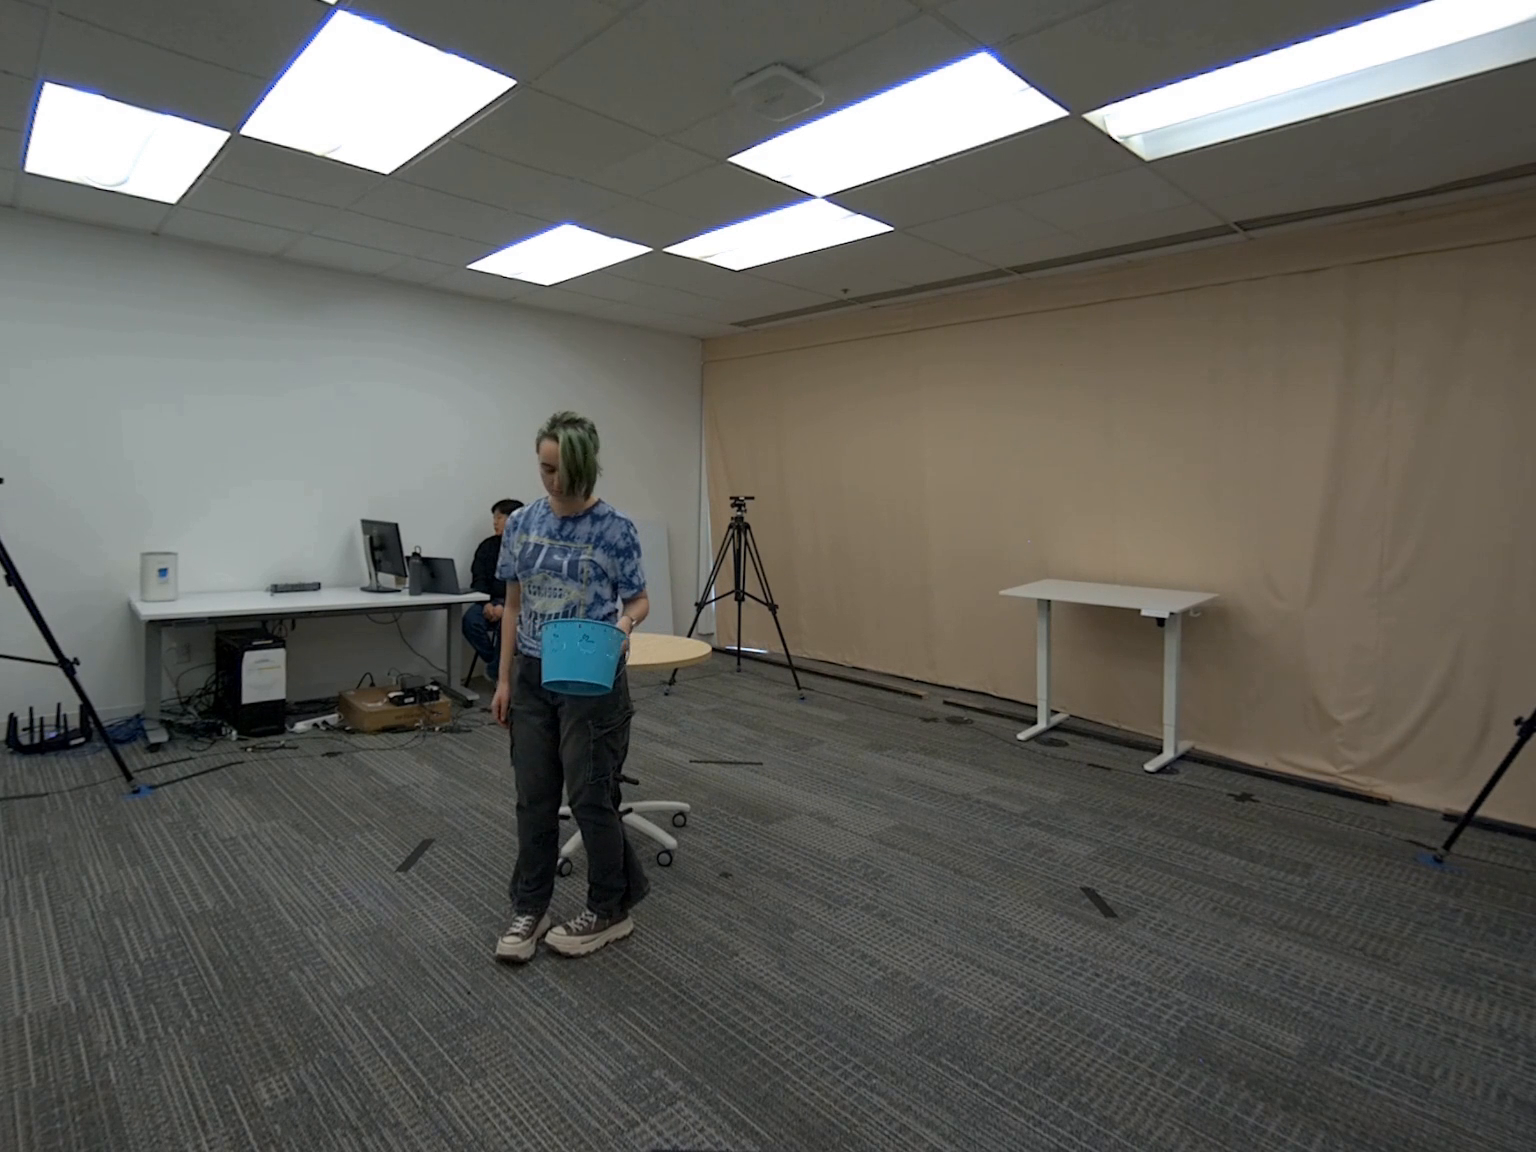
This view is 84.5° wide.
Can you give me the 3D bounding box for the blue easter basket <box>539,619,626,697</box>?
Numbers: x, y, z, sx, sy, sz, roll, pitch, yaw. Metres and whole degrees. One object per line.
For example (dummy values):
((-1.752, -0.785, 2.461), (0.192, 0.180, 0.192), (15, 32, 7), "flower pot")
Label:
((-0.514, 0.224, 2.204), (0.244, 0.158, 0.240), (3, -20, 0), "blue easter basket")
